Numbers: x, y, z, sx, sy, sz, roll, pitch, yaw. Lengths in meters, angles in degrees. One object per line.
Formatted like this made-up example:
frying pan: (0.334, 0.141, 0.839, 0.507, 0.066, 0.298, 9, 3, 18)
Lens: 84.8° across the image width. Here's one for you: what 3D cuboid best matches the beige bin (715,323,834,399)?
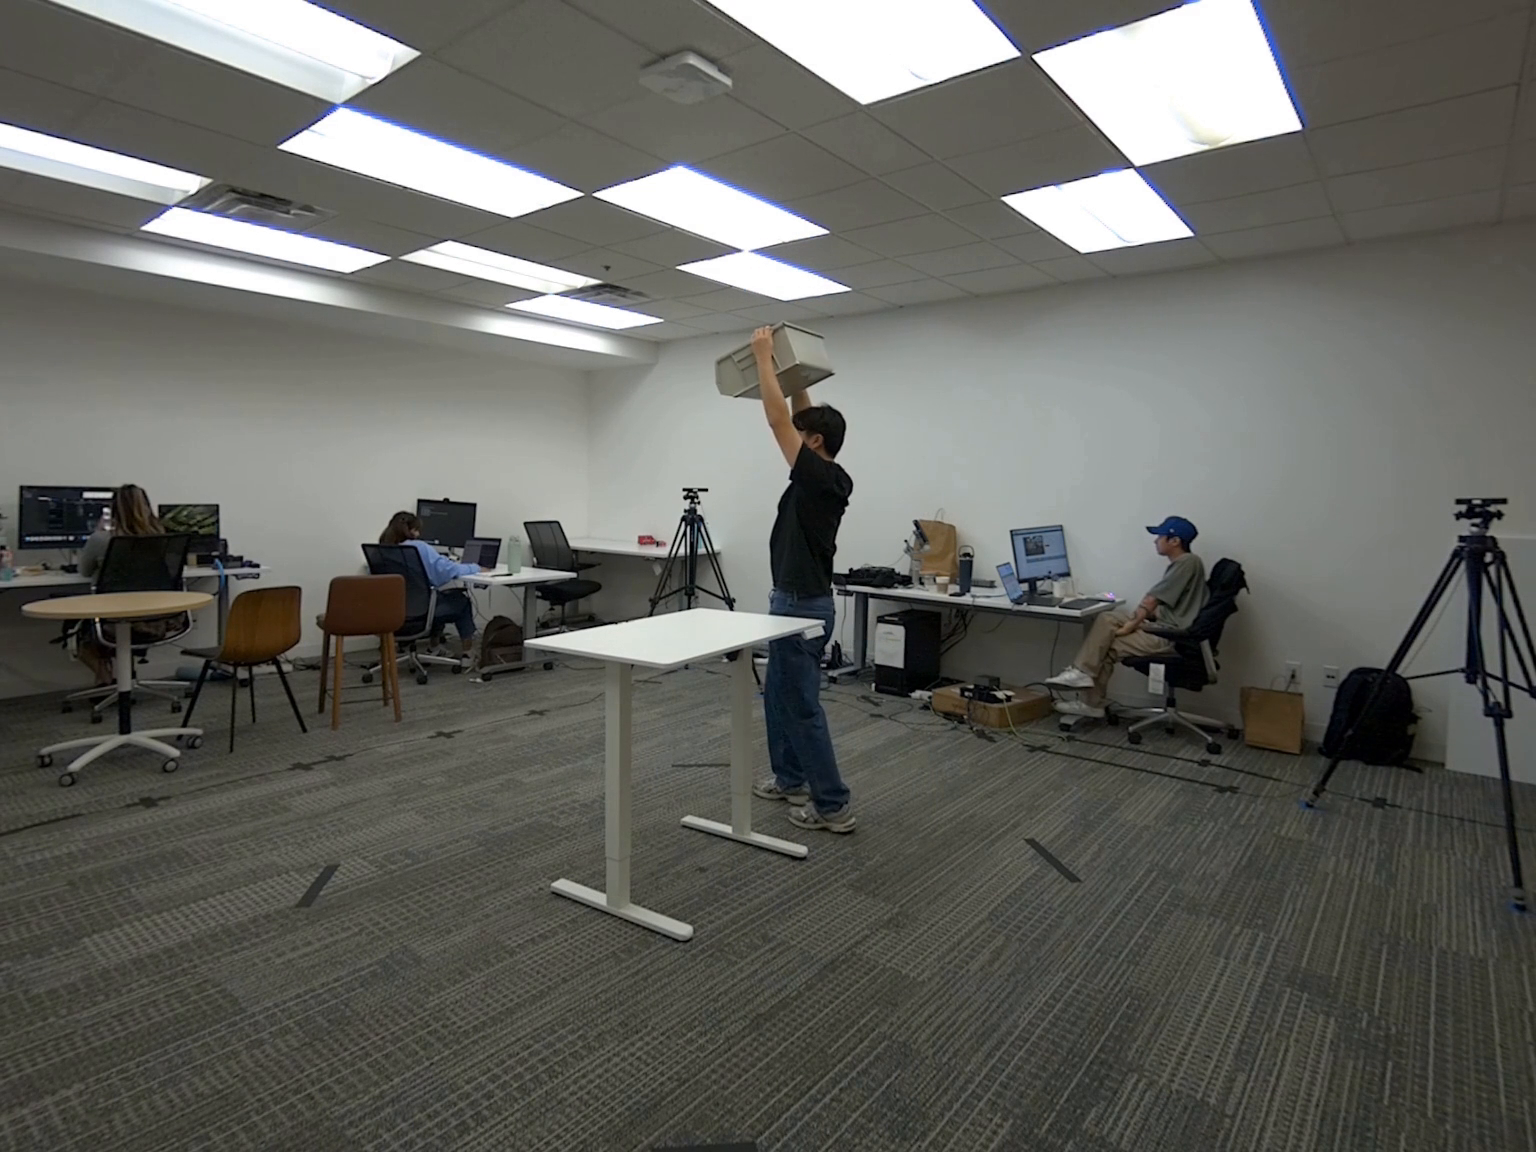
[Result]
beige bin: (0.020, -0.893, 3.633, 0.383, 0.190, 0.413, -22, -4, 28)
